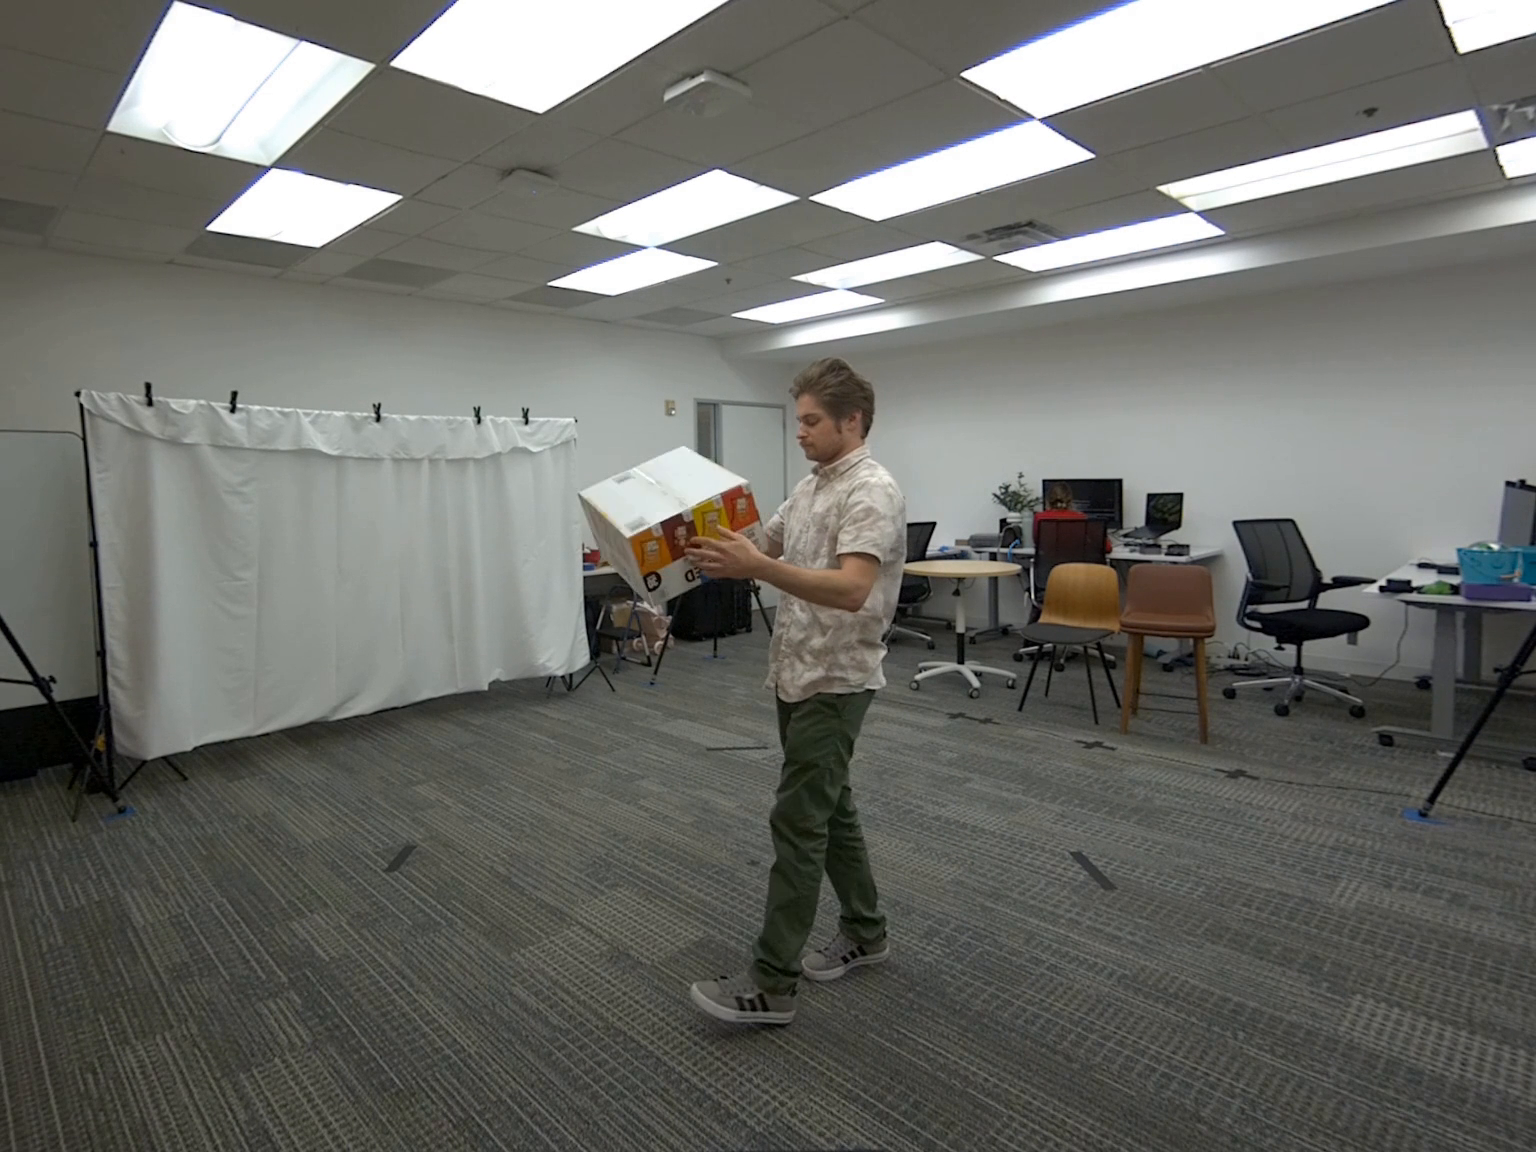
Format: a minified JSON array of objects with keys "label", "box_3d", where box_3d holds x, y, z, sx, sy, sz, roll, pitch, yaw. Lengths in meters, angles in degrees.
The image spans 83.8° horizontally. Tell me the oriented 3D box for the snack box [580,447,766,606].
[{"label":"snack box","box_3d":[-0.264,-0.140,2.251,0.337,0.200,0.420,-27,30,-19]}]
